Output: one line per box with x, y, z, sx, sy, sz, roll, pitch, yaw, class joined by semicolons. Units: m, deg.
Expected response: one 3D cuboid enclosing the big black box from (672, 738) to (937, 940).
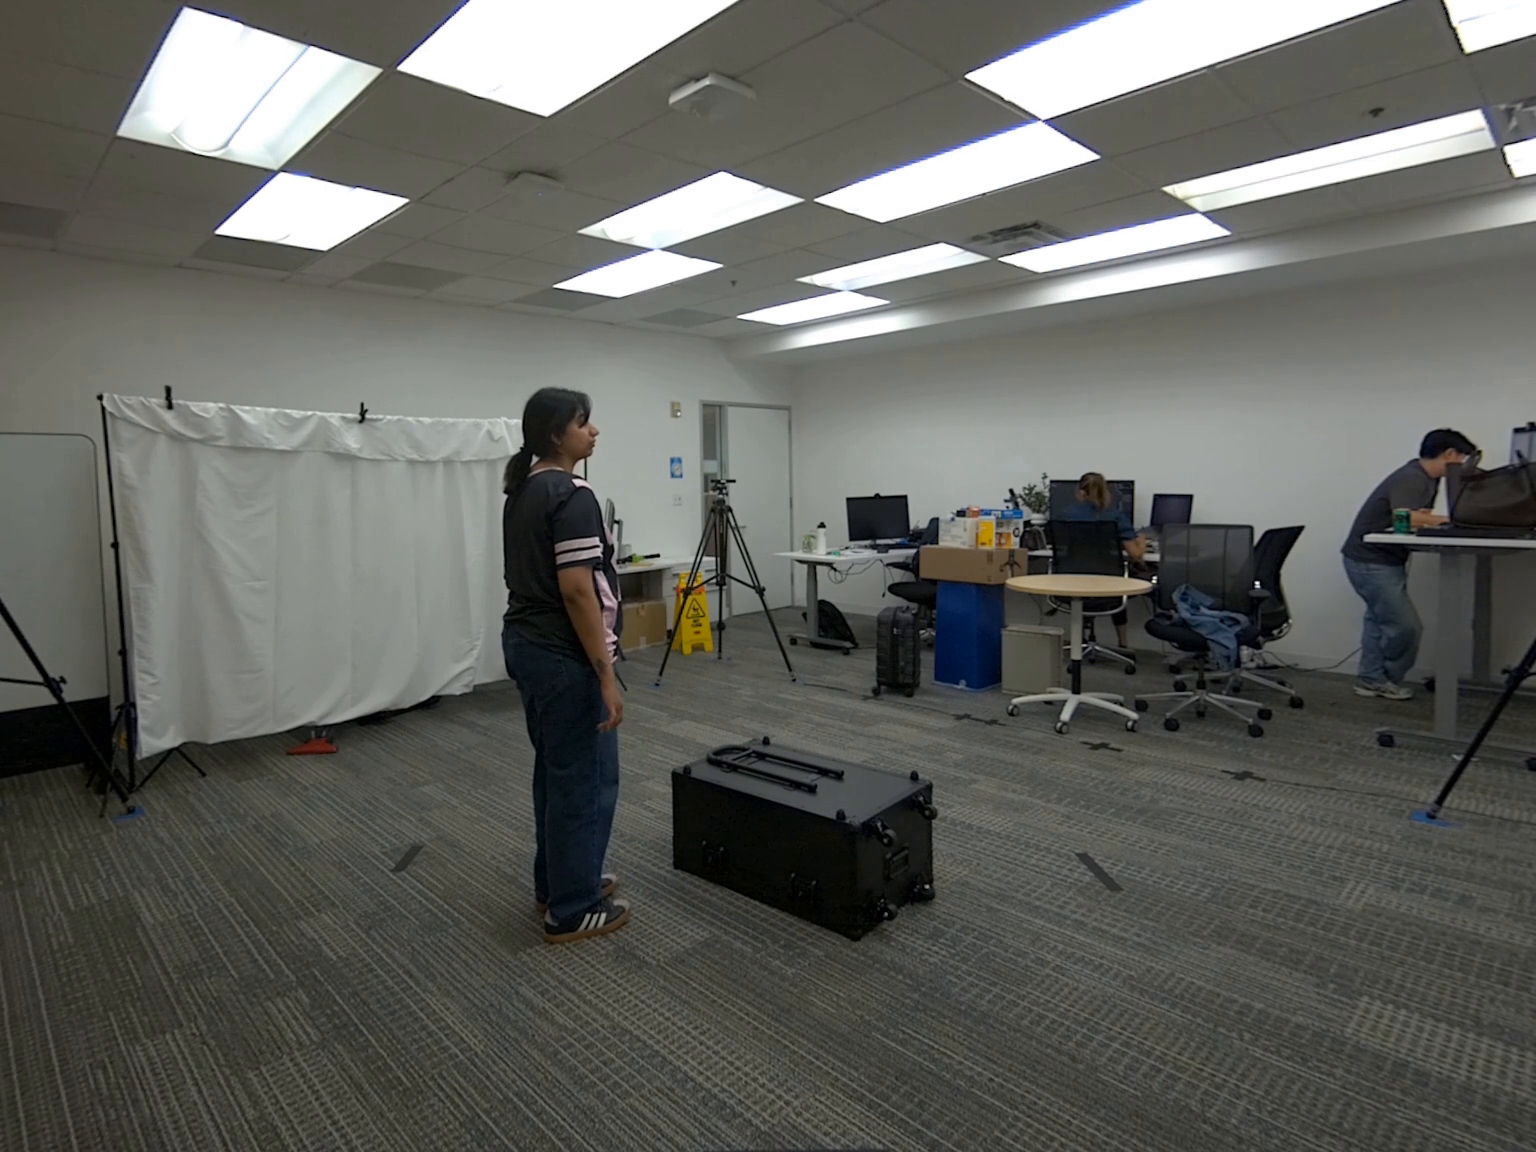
0.143;0.874;2.979;0.895;0.384;0.509;4;6;40;big black box
